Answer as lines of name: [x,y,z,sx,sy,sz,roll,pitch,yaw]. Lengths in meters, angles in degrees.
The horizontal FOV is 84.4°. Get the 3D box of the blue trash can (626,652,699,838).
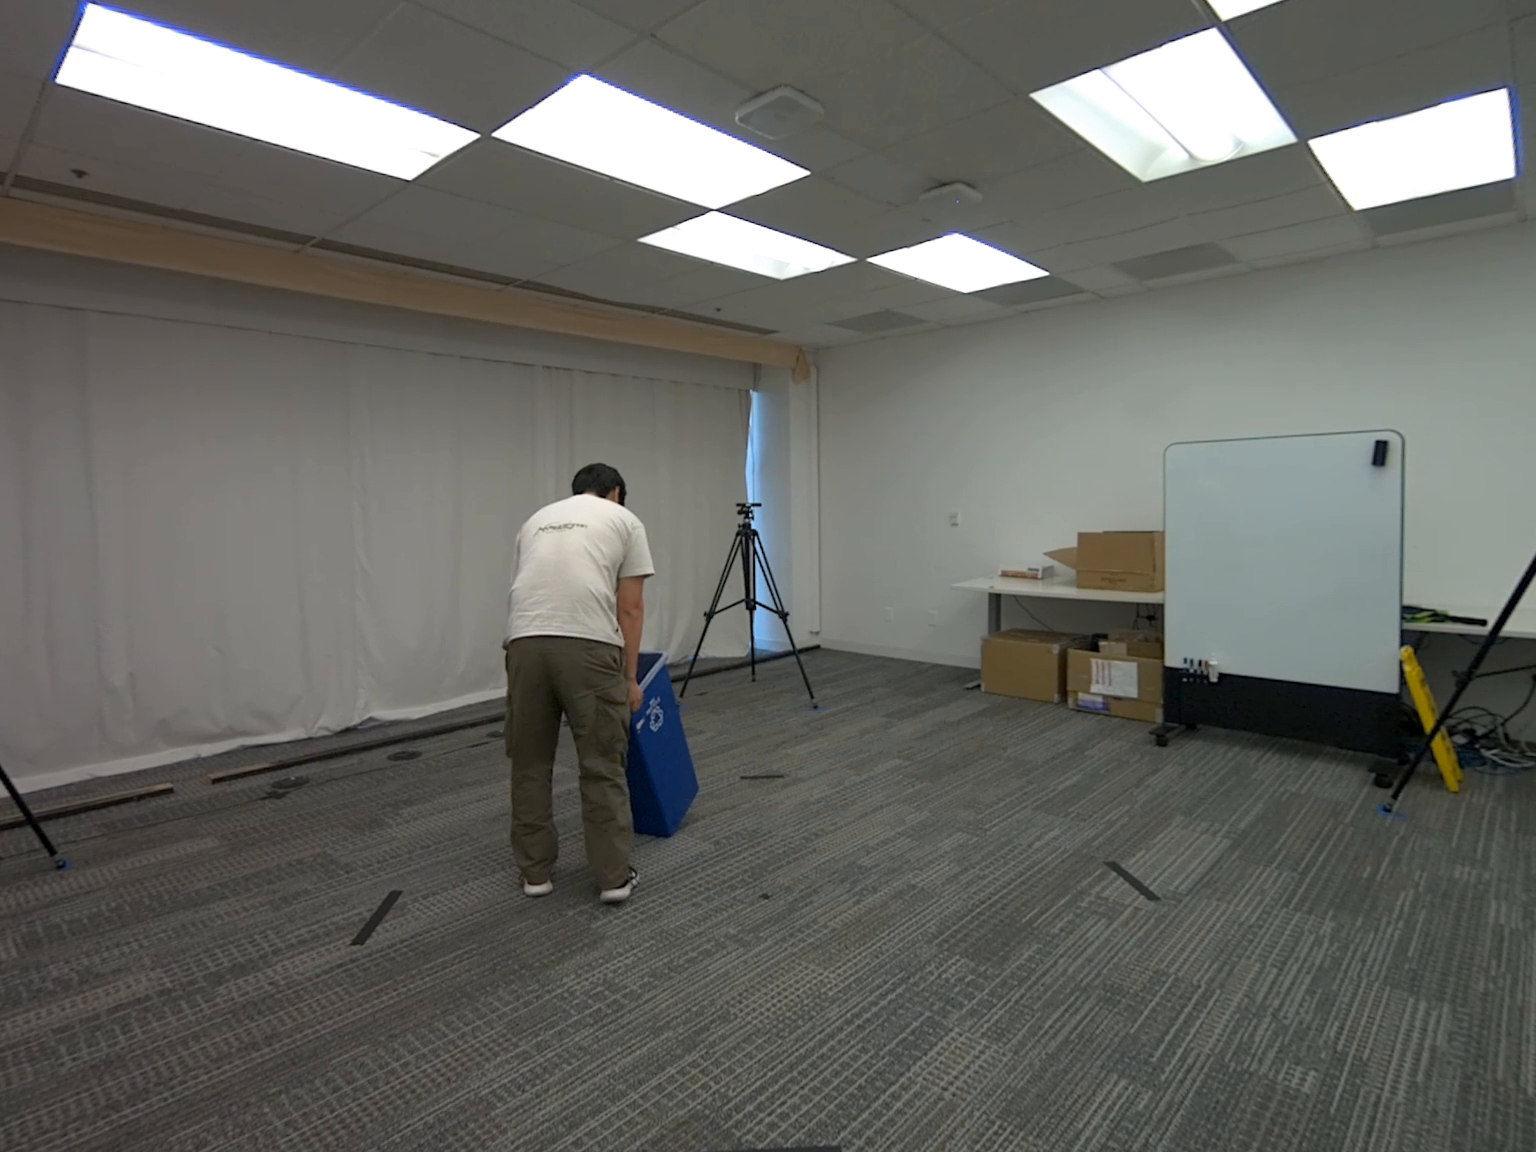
blue trash can: [-0.561,0.708,3.561,0.387,0.699,0.372,-1,28,25]
